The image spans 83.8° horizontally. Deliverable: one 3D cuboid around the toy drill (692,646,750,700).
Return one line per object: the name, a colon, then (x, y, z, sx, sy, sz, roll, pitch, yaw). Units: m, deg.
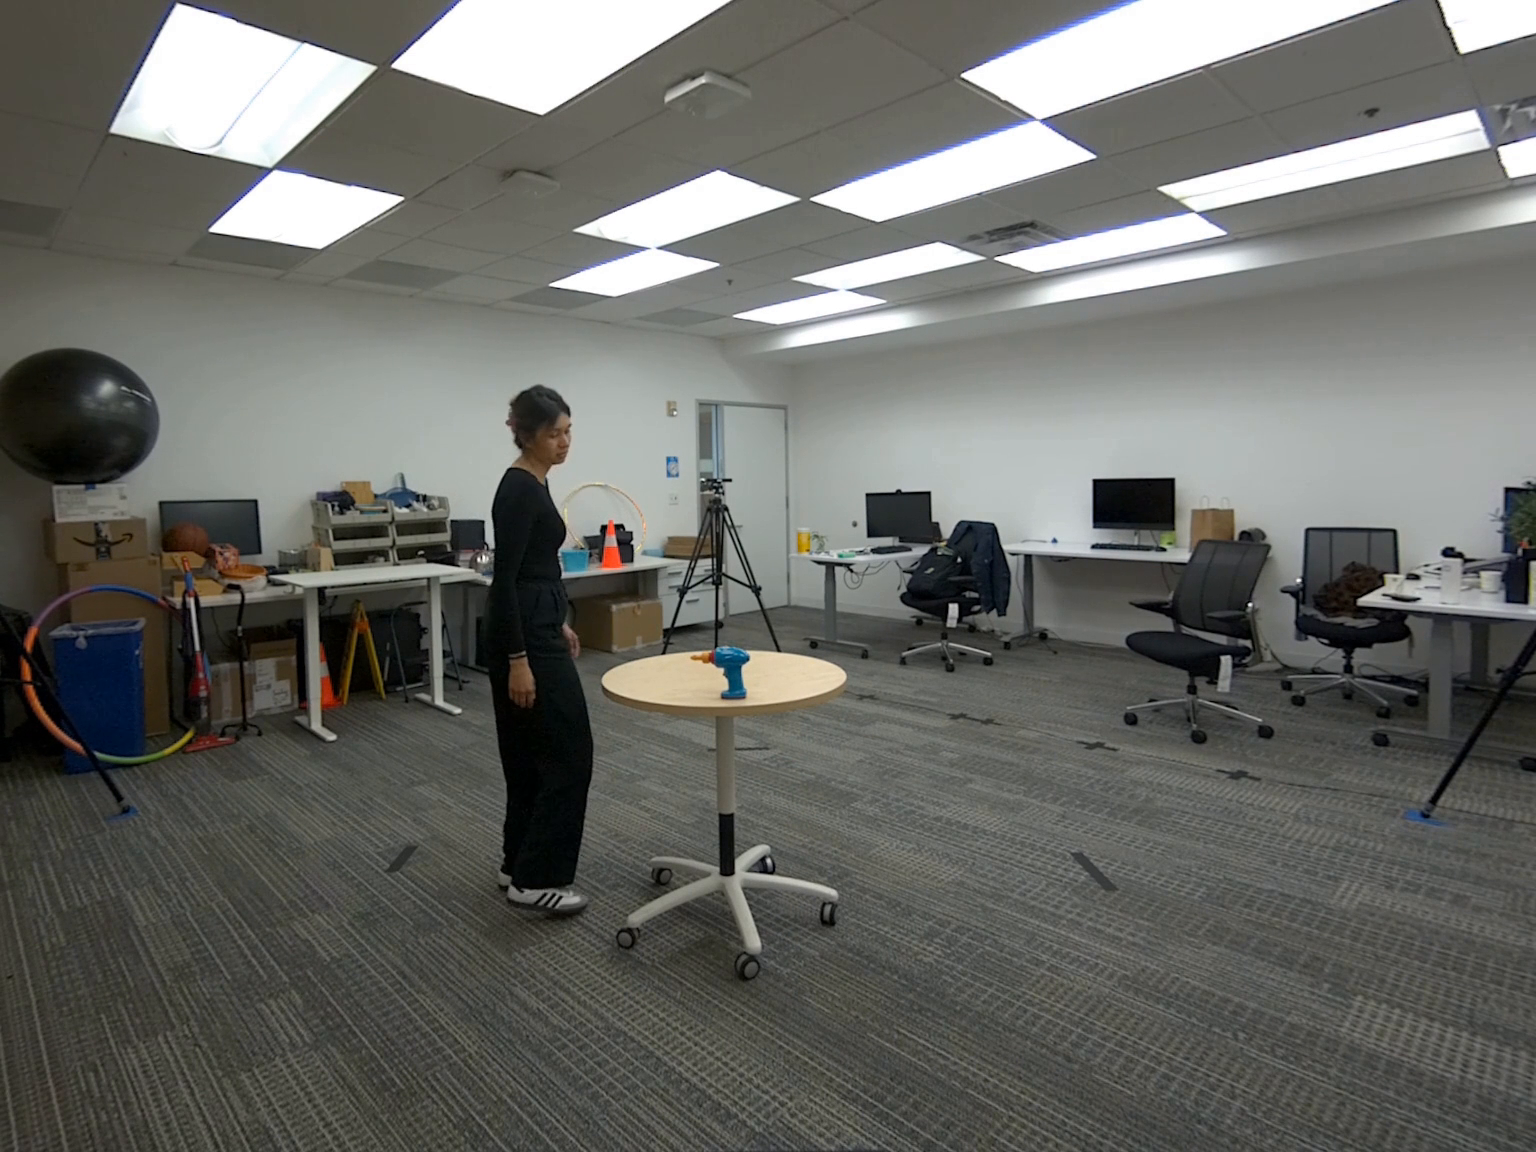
toy drill: (-0.137, 0.271, 2.392, 0.170, 0.145, 0.061, -1, 4, 3)
